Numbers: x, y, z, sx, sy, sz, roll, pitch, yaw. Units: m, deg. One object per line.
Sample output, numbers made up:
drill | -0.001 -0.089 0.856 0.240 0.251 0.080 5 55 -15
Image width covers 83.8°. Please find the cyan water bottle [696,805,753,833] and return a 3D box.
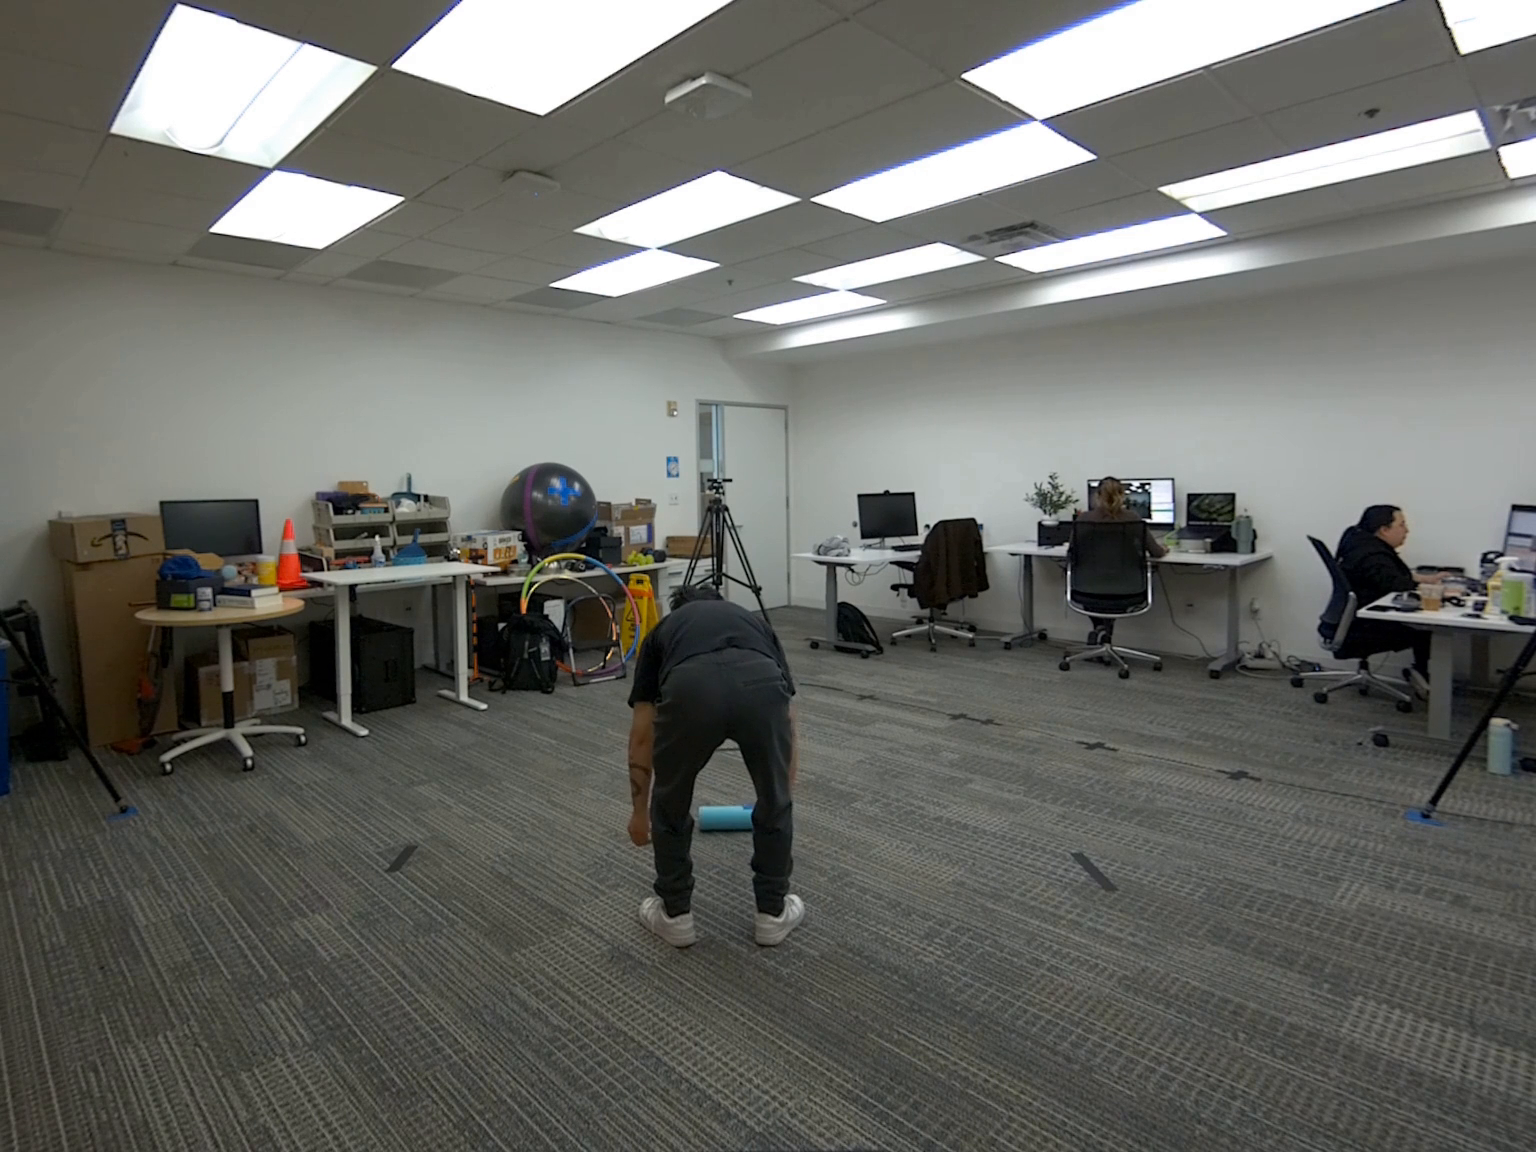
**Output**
cyan water bottle | -0.134 0.966 3.413 0.283 0.092 0.093 -1 5 -2
